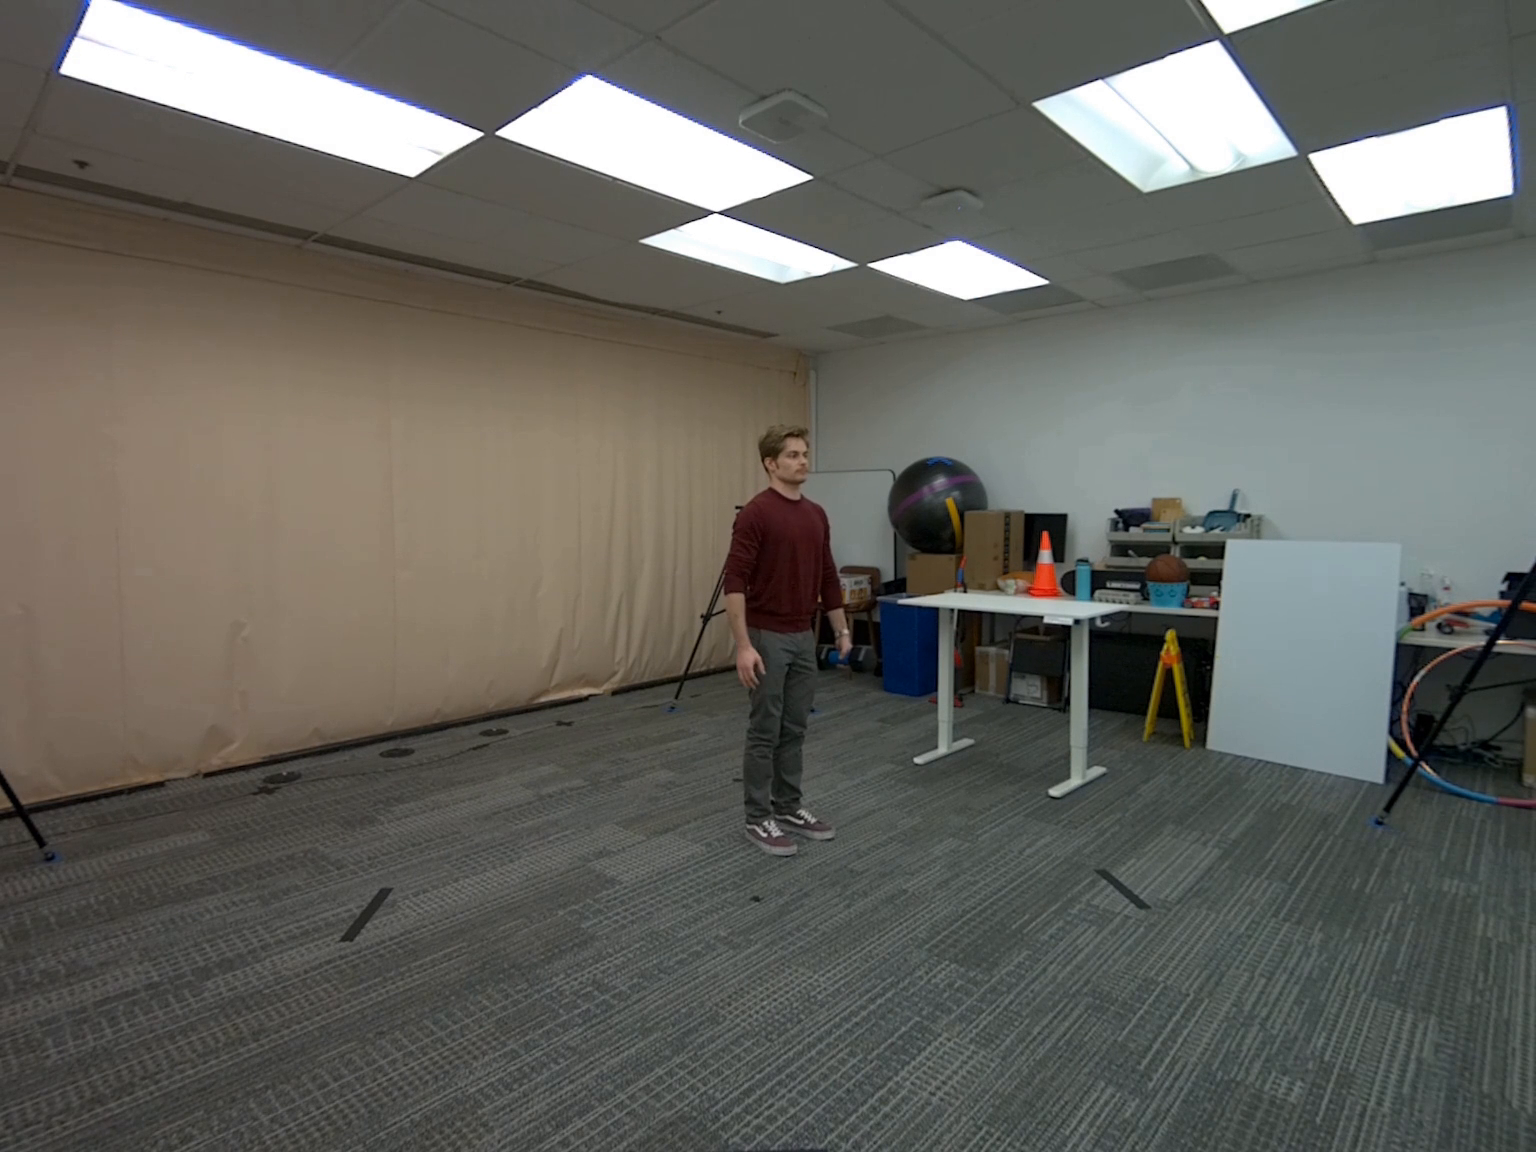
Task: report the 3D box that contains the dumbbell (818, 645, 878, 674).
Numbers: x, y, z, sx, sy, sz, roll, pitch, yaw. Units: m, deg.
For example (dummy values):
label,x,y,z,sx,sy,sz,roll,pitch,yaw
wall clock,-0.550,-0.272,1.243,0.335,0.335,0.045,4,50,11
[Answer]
label,x,y,z,sx,sy,sz,roll,pitch,yaw
dumbbell,0.326,0.343,3.560,0.302,0.121,0.107,-4,25,48
